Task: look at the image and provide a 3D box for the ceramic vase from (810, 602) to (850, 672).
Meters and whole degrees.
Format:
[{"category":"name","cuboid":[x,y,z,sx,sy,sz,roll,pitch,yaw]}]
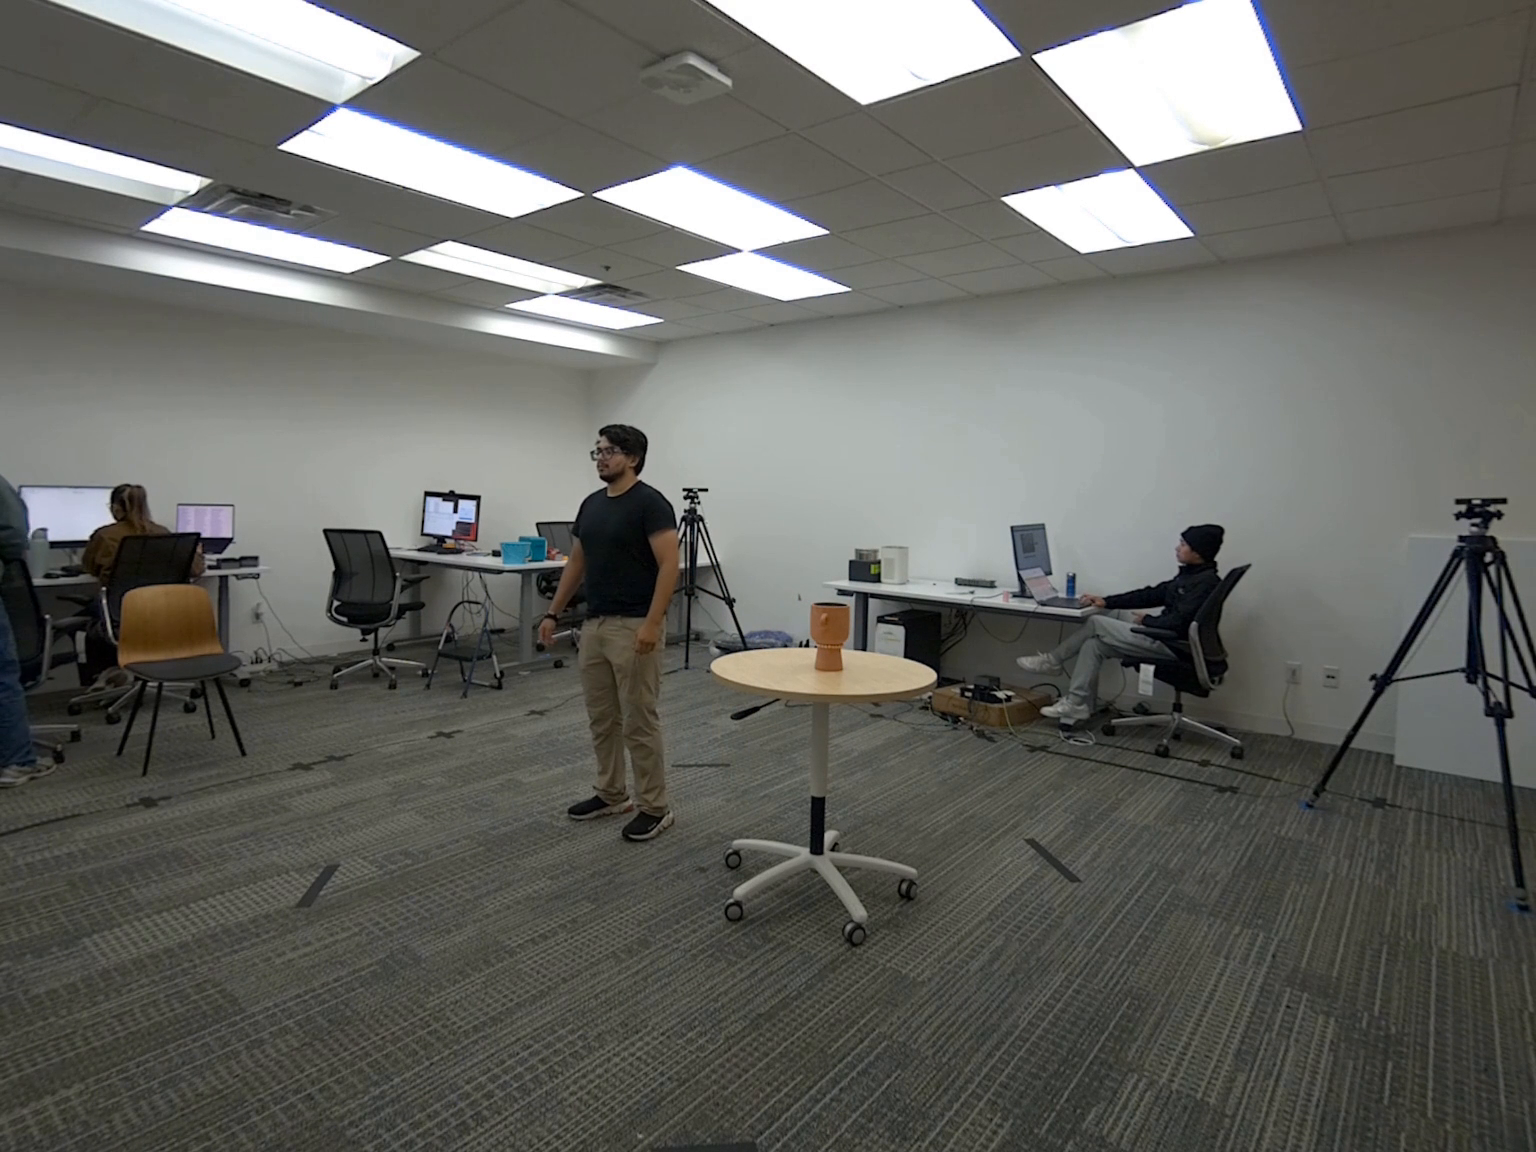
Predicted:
[{"category":"ceramic vase","cuboid":[0.204,0.203,2.906,0.154,0.219,0.139,-2,4,-31]}]
